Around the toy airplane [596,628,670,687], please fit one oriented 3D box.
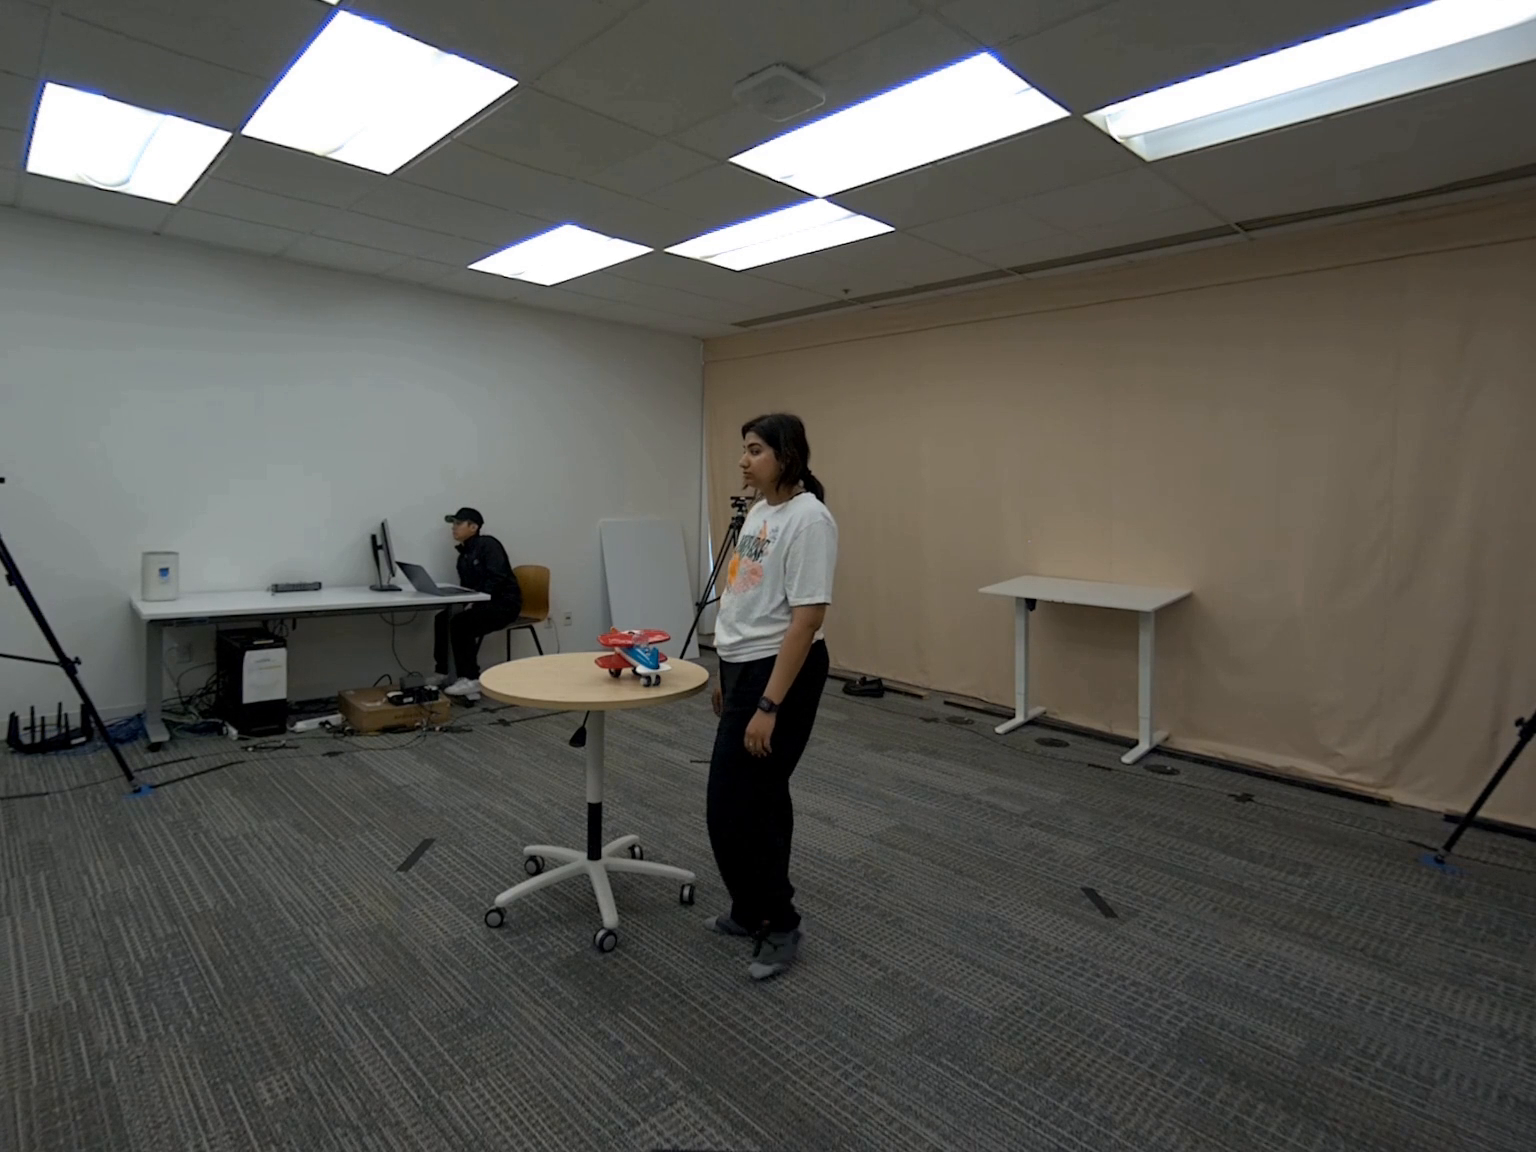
[{"bbox_3d":[-0.416,0.265,2.786,0.264,0.156,0.246,3,5,27],"label":"toy airplane"}]
